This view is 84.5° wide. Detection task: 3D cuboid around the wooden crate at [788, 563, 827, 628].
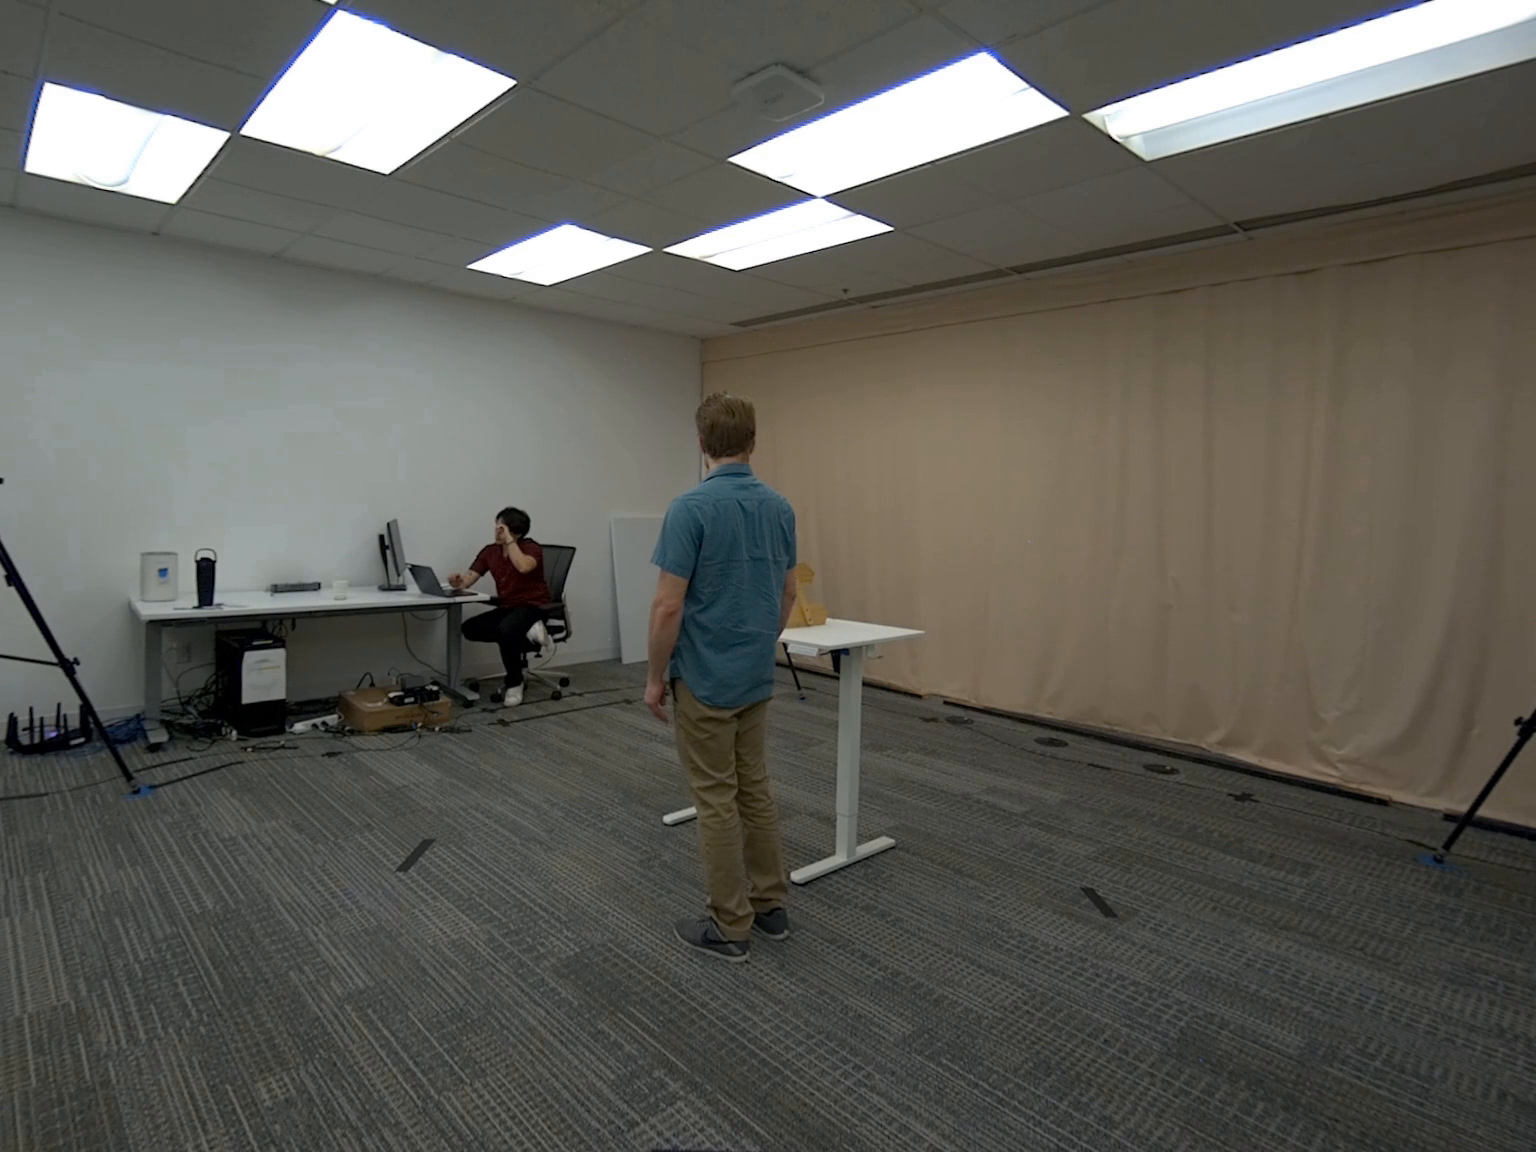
[{"bbox_3d":[0.038,0.063,3.474,0.295,0.272,0.333,-3,6,-44],"label":"wooden crate"}]
